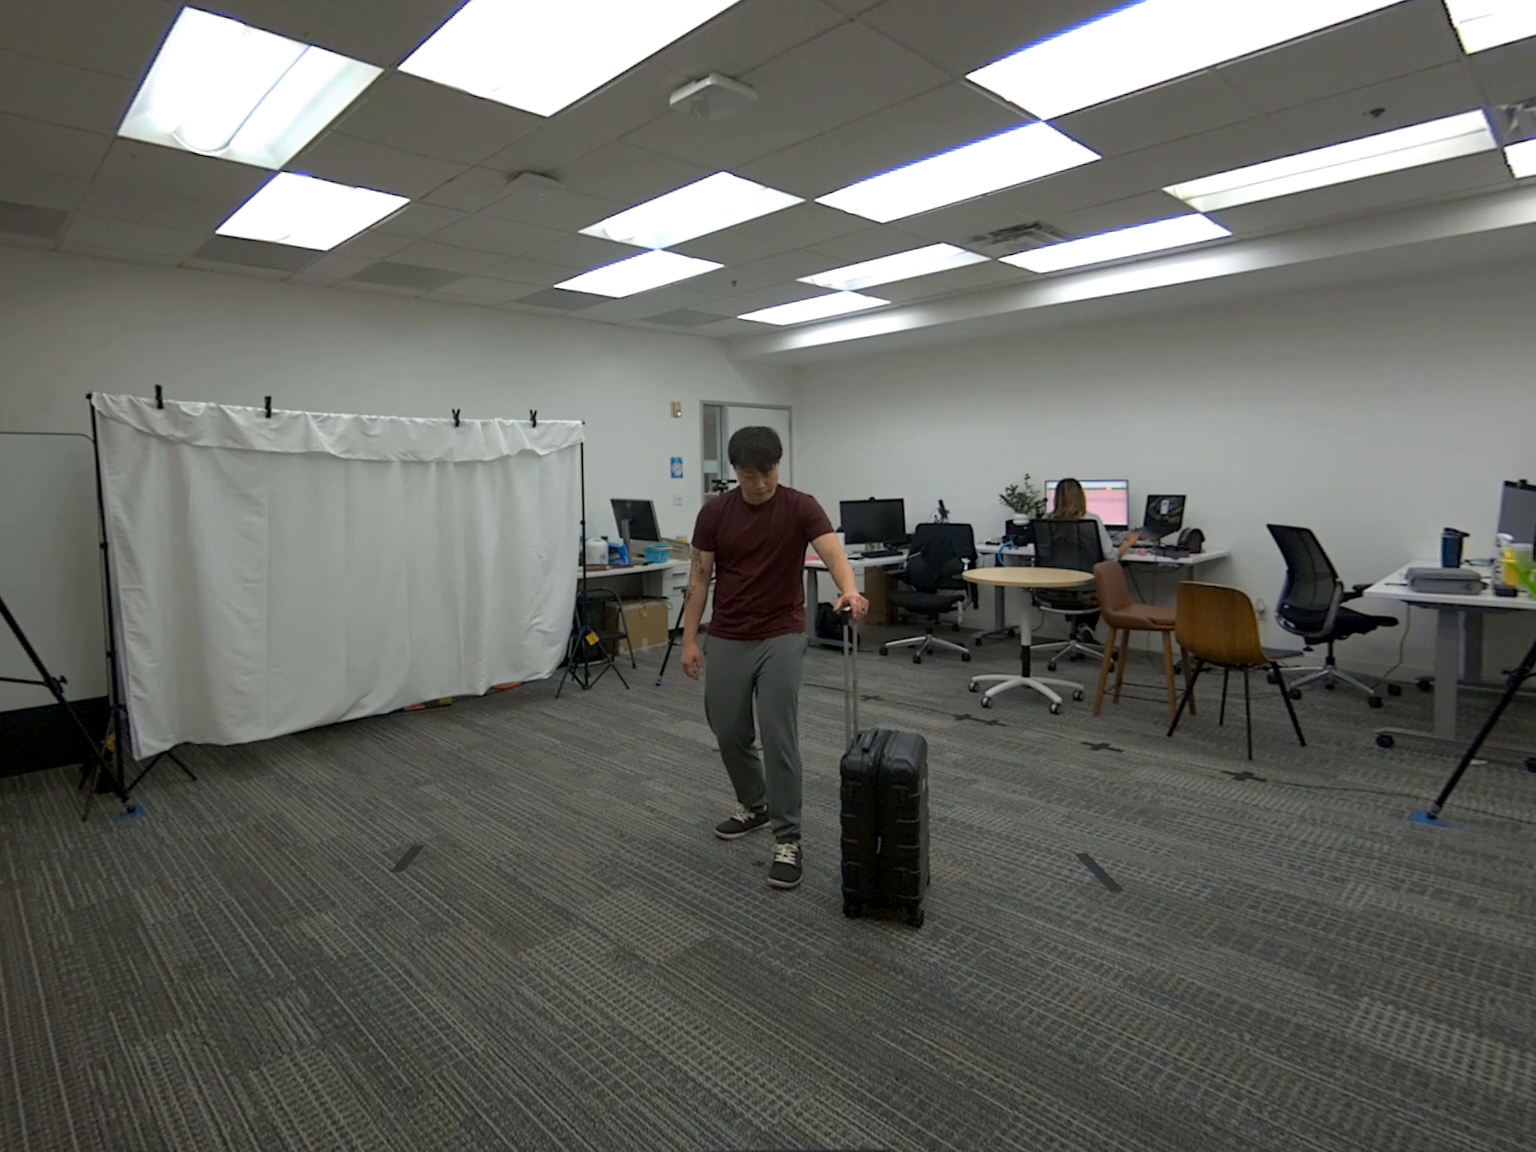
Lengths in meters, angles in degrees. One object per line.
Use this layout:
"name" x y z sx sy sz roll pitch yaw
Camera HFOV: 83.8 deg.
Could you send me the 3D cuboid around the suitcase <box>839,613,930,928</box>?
"suitcase" 0.393 0.596 2.776 0.261 0.974 0.380 1 6 16
